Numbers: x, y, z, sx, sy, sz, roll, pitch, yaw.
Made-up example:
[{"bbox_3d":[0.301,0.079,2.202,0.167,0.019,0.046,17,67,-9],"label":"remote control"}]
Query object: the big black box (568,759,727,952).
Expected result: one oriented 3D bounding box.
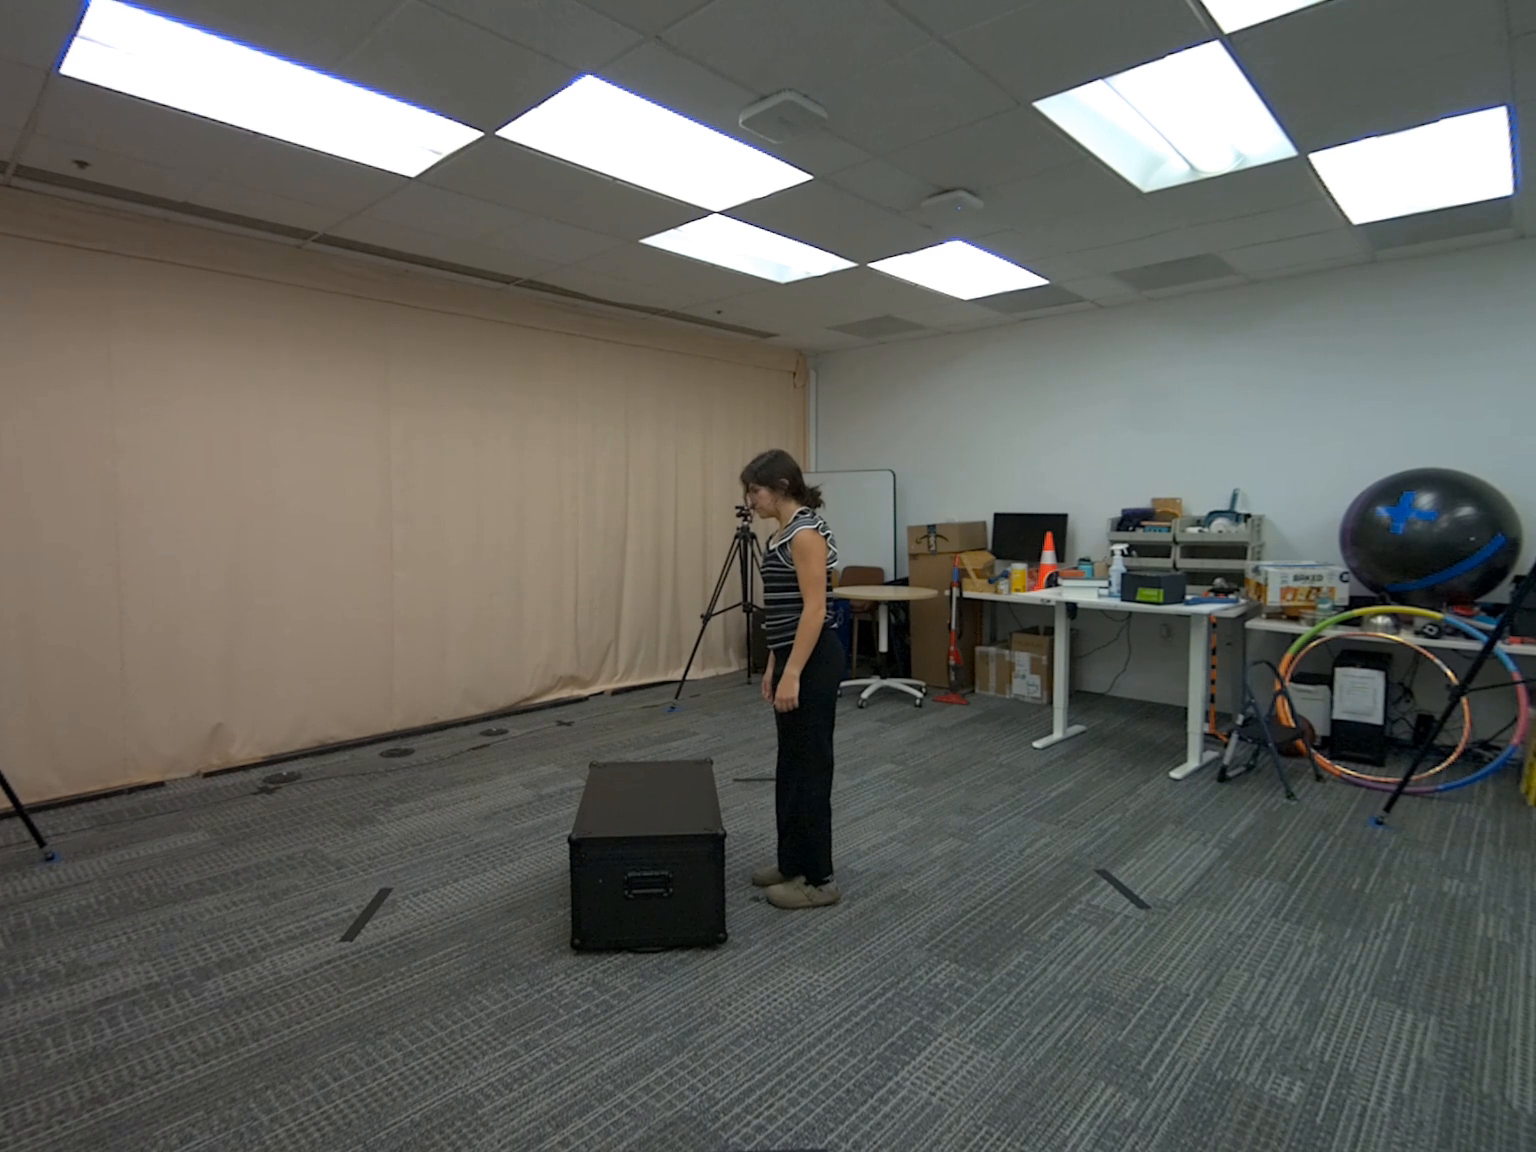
[{"bbox_3d":[-0.419,0.951,3.027,0.518,0.395,0.869,-1,4,-6],"label":"big black box"}]
